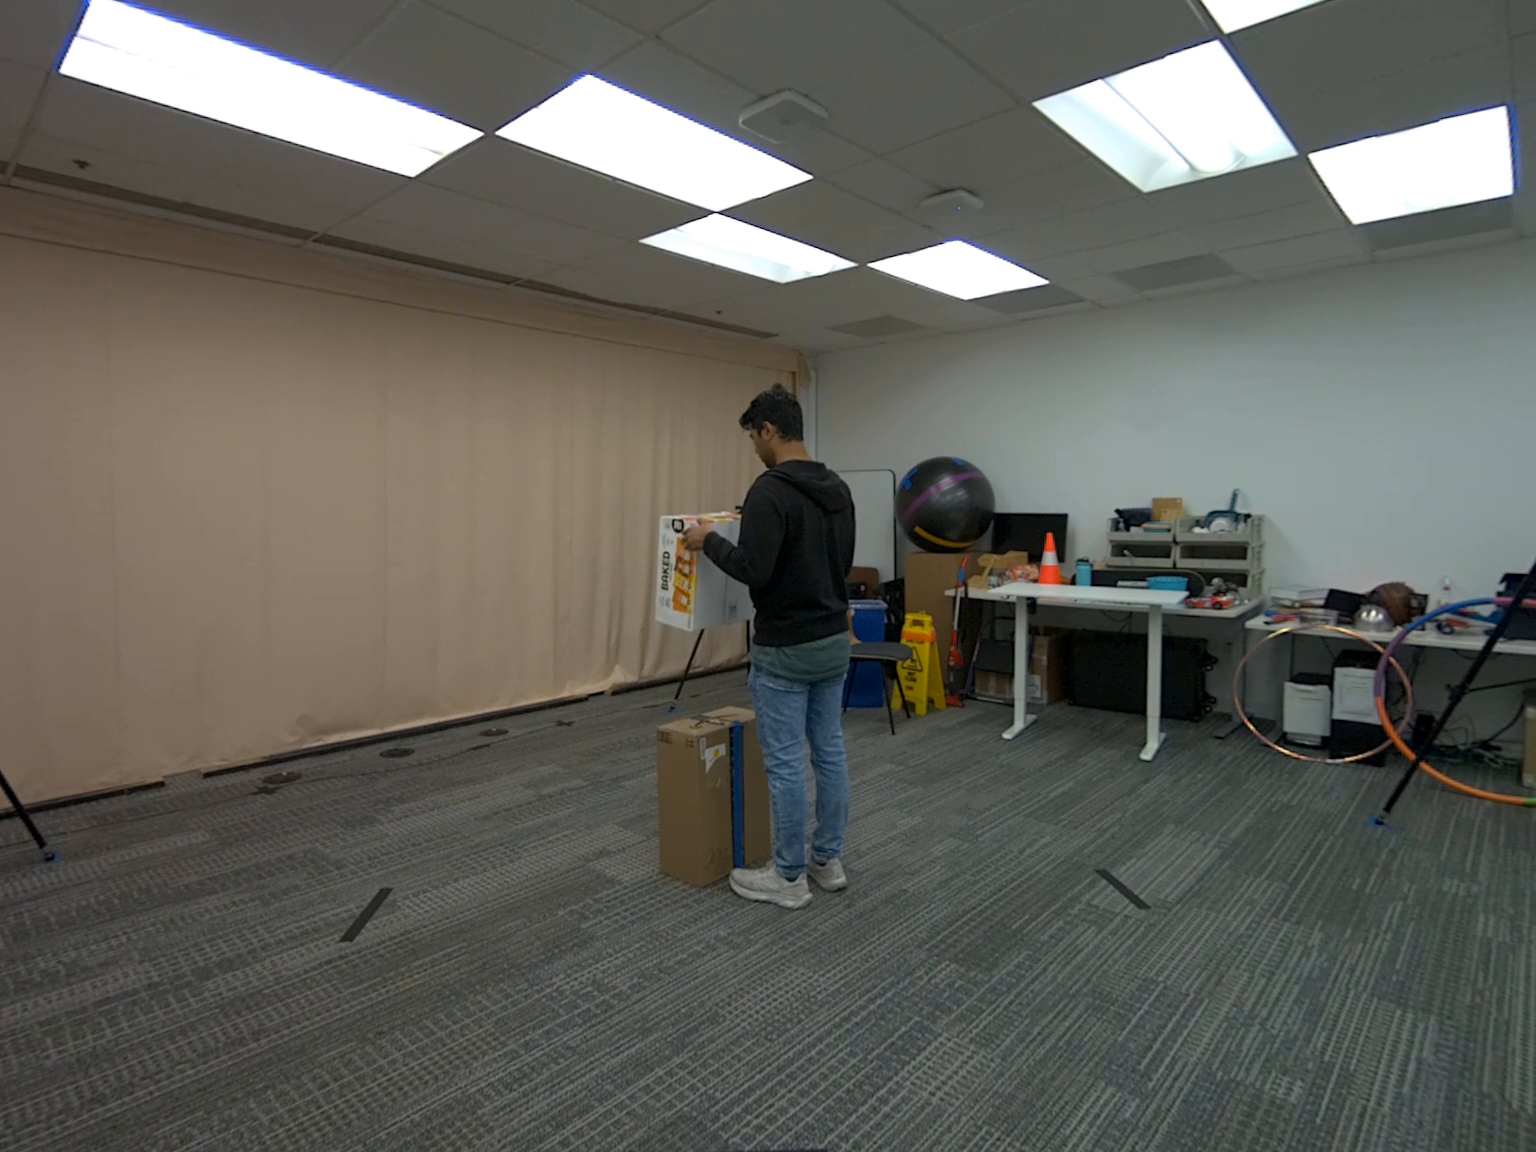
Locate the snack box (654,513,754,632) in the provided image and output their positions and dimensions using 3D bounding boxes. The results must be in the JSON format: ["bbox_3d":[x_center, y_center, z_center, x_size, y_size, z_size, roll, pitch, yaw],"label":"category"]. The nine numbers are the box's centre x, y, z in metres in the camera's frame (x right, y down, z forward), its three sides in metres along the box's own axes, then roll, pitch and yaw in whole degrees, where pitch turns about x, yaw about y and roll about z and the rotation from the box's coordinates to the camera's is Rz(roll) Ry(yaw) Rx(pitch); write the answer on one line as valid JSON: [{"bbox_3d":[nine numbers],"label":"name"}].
[{"bbox_3d":[-0.225,-0.015,3.228,0.213,0.403,0.330,10,11,41],"label":"snack box"}]
